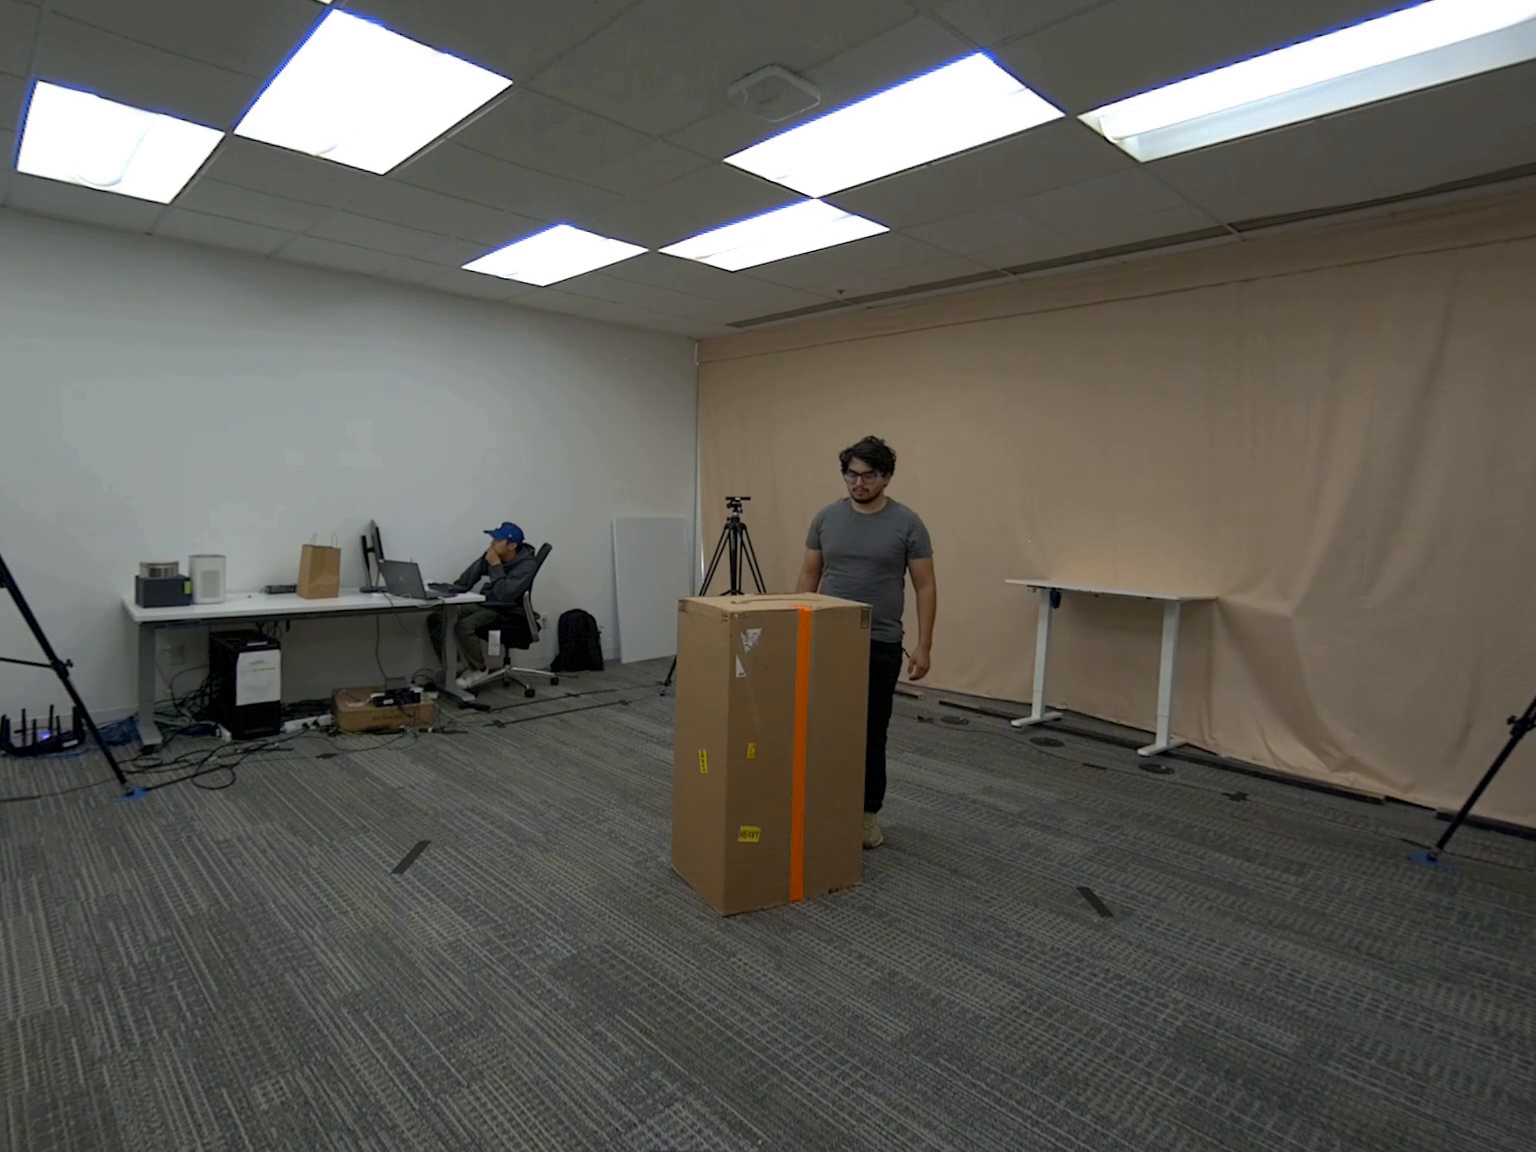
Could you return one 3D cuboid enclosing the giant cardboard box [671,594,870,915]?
[{"bbox_3d":[-0.005,0.604,3.080,0.572,1.025,0.457,0,3,-30],"label":"giant cardboard box"}]
